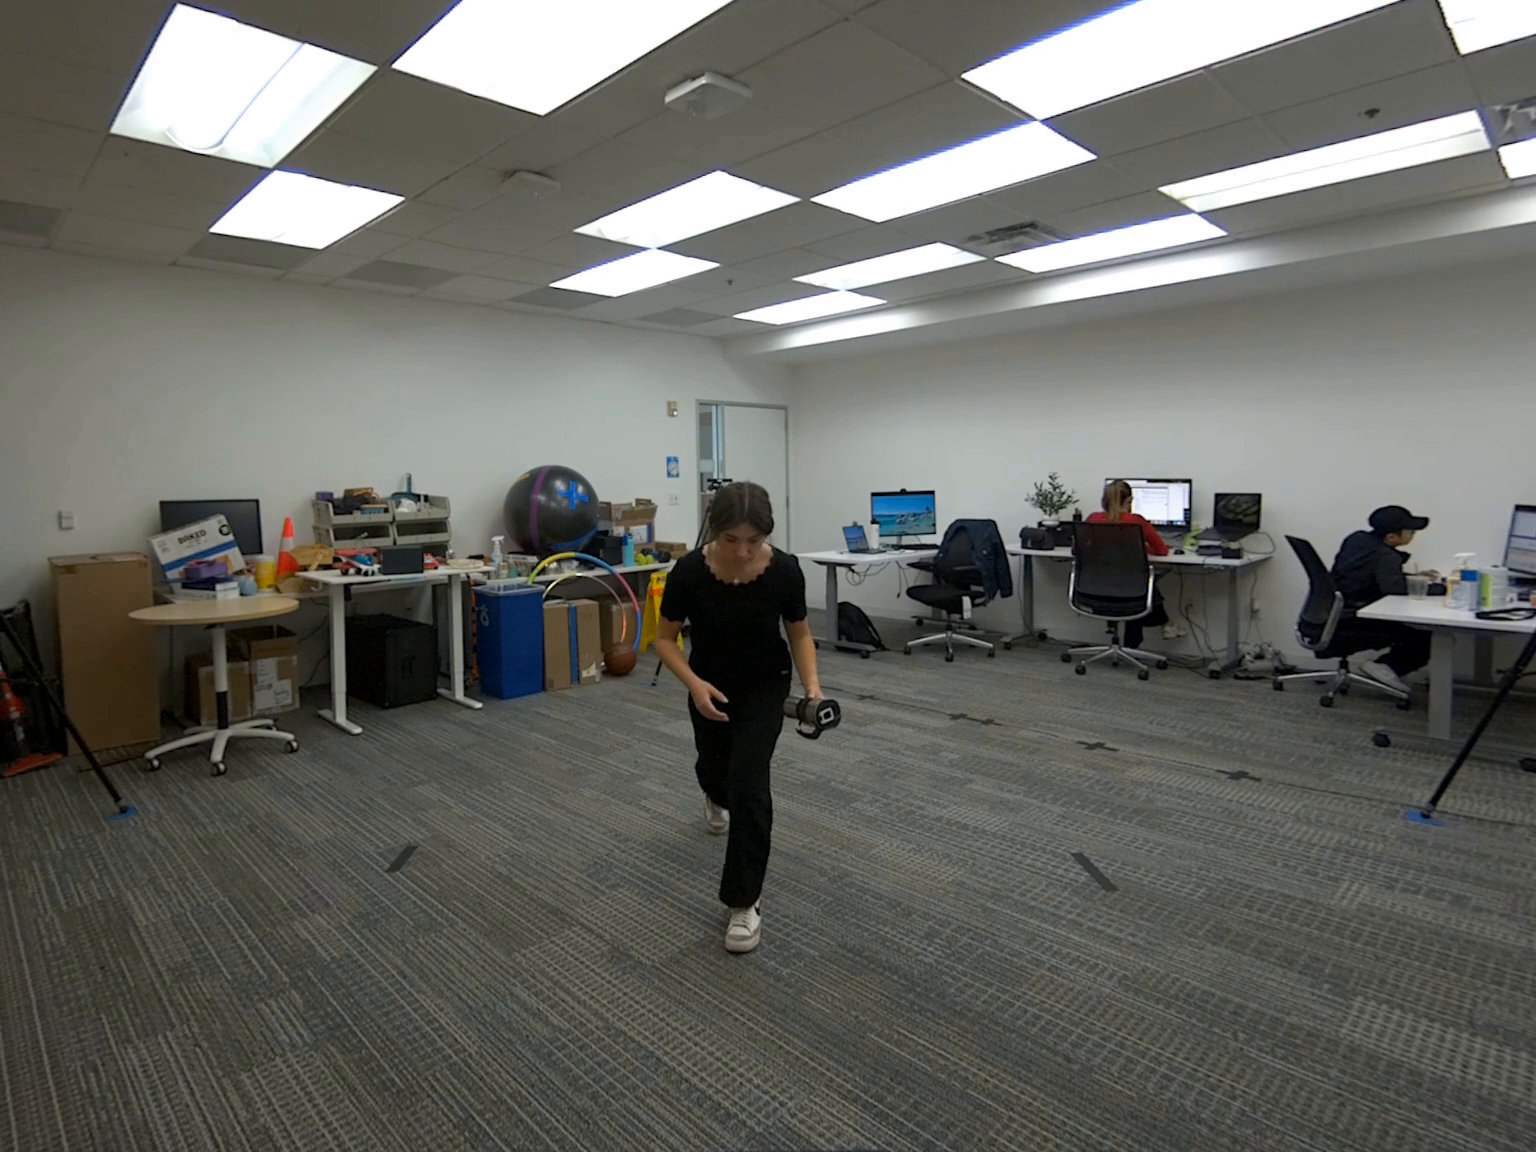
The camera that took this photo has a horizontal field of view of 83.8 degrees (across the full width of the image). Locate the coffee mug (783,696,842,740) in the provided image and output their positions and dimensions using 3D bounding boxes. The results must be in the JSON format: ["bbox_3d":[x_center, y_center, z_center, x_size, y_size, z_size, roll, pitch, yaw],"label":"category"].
[{"bbox_3d":[0.094,0.399,2.480,0.121,0.086,0.208,-40,19,-28],"label":"coffee mug"}]
